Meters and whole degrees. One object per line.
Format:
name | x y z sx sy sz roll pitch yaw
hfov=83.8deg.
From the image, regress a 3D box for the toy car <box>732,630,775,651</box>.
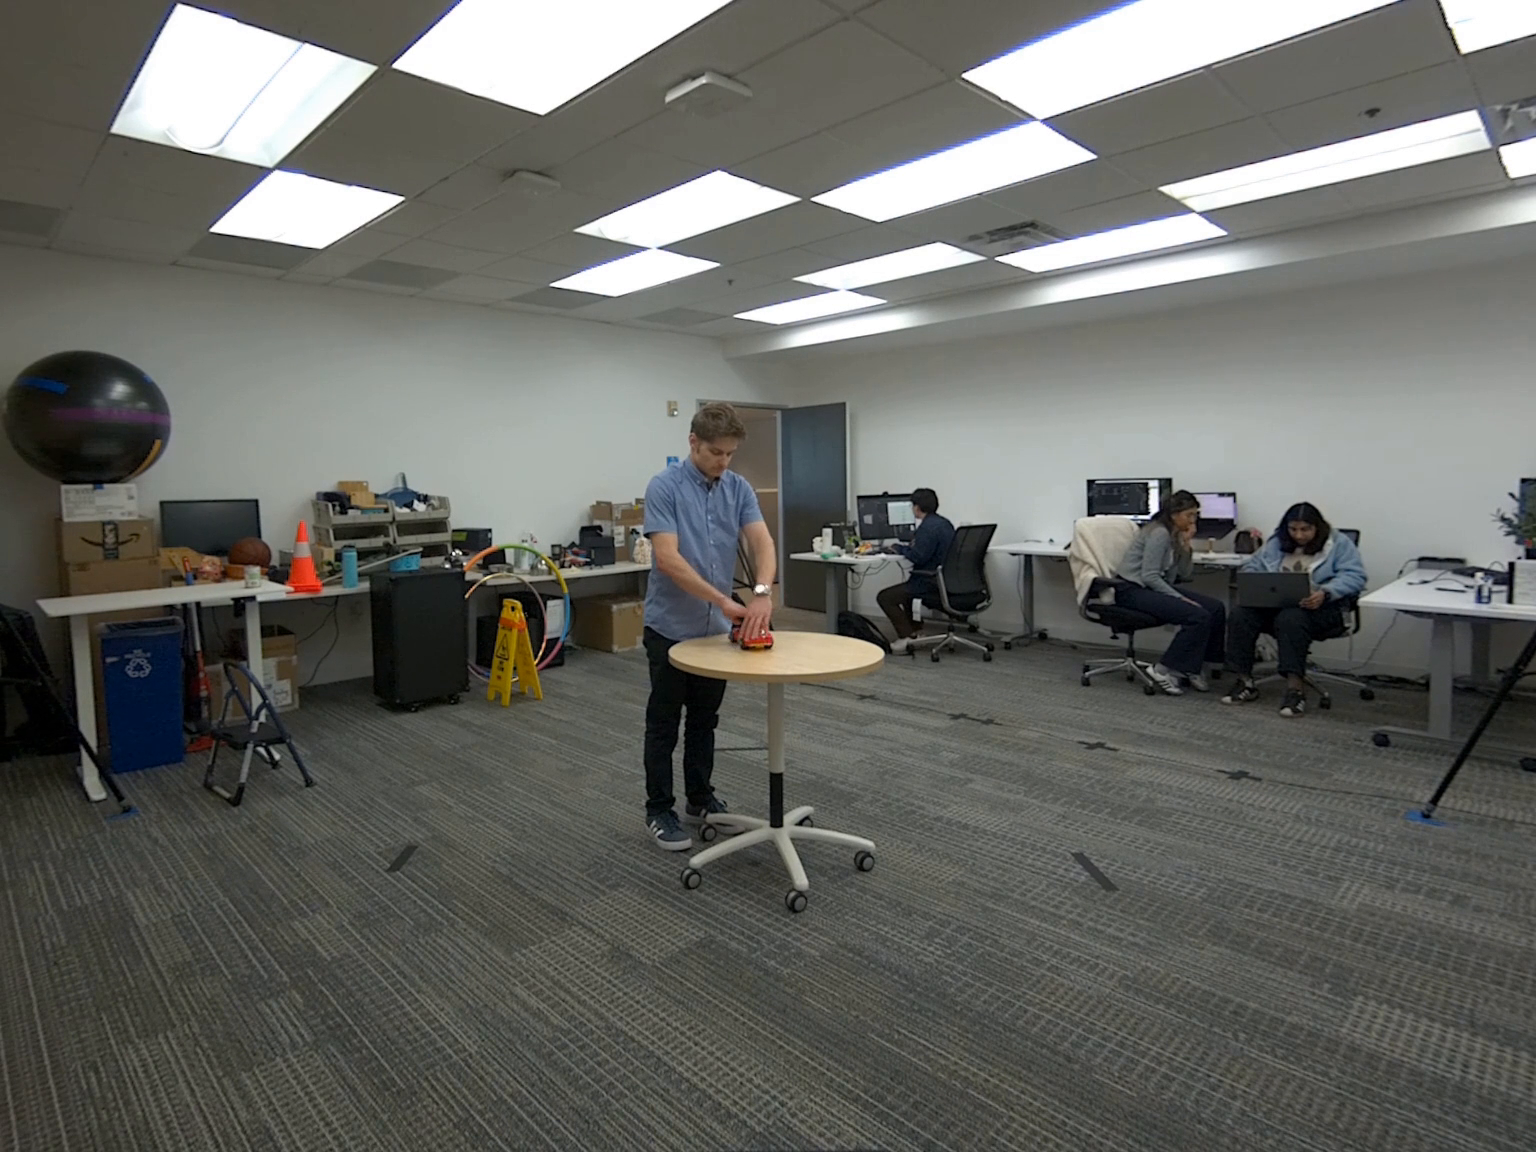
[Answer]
toy car | -0.045 0.228 3.117 0.129 0.084 0.255 -2 -4 -11
